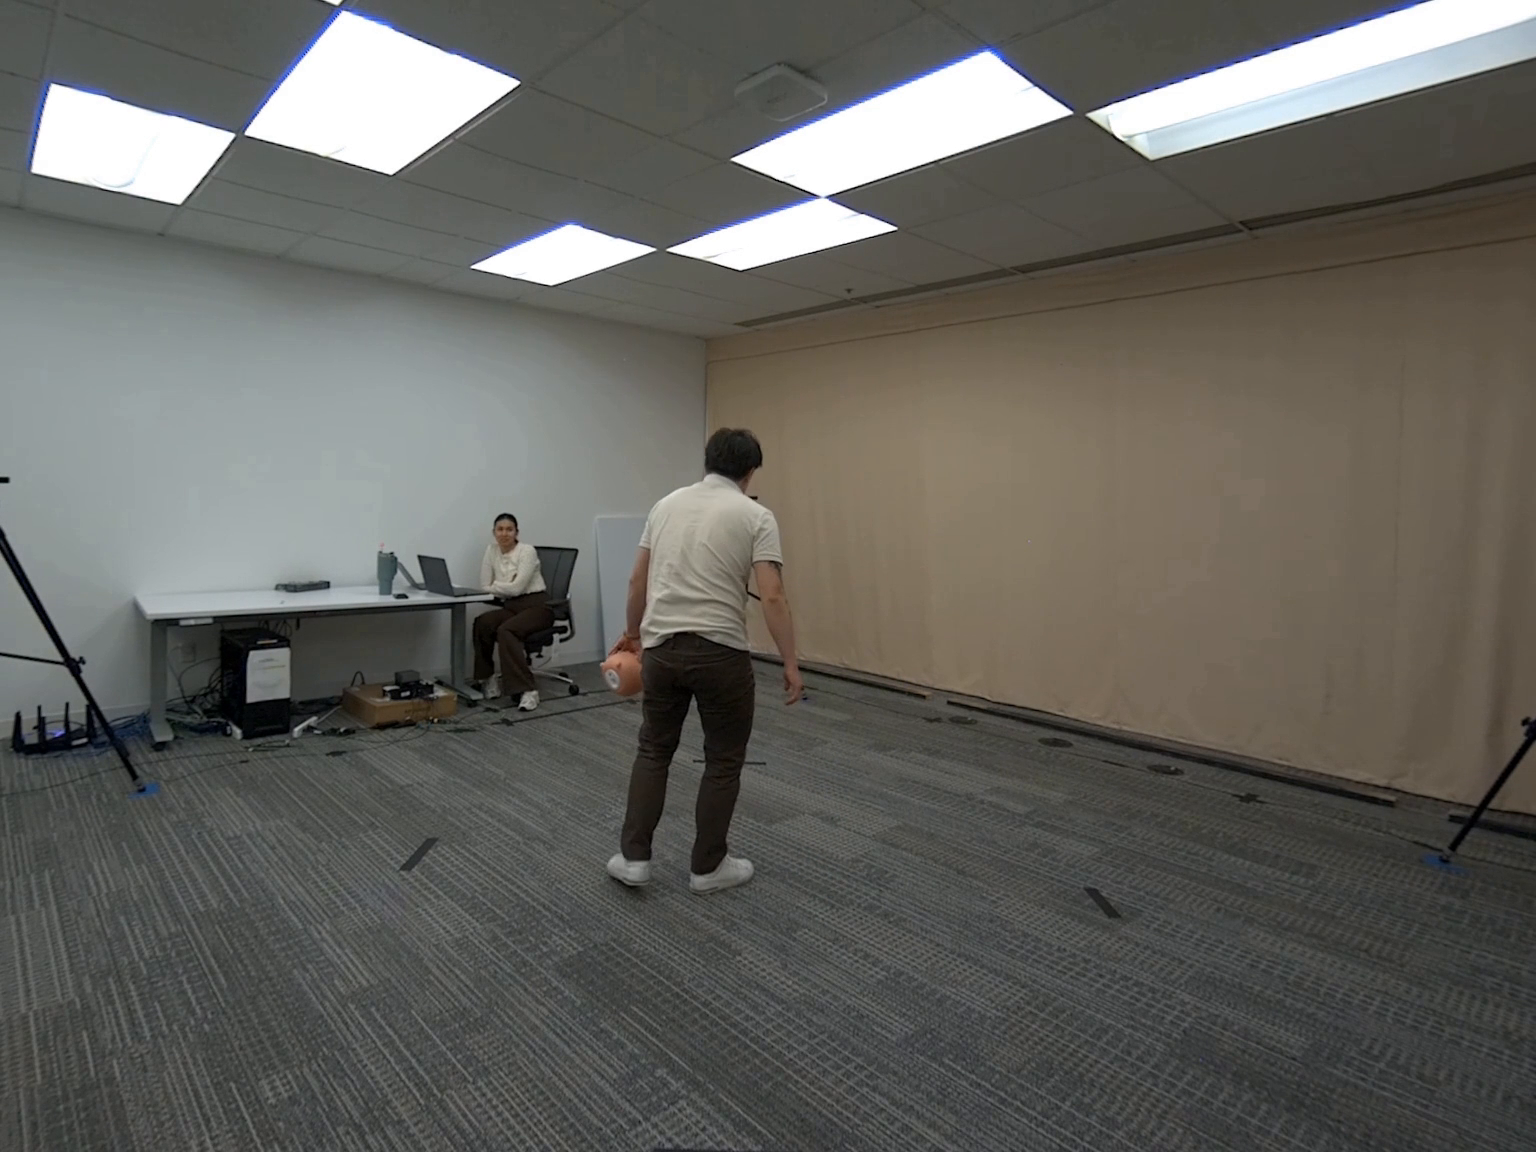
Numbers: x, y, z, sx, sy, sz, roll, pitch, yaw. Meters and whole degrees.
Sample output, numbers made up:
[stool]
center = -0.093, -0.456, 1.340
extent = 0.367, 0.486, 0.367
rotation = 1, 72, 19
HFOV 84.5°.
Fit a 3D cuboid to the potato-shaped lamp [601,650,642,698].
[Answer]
[potato-shaped lamp]
center = -0.536, 0.371, 3.224
extent = 0.167, 0.170, 0.196
rotation = -14, 10, 39
